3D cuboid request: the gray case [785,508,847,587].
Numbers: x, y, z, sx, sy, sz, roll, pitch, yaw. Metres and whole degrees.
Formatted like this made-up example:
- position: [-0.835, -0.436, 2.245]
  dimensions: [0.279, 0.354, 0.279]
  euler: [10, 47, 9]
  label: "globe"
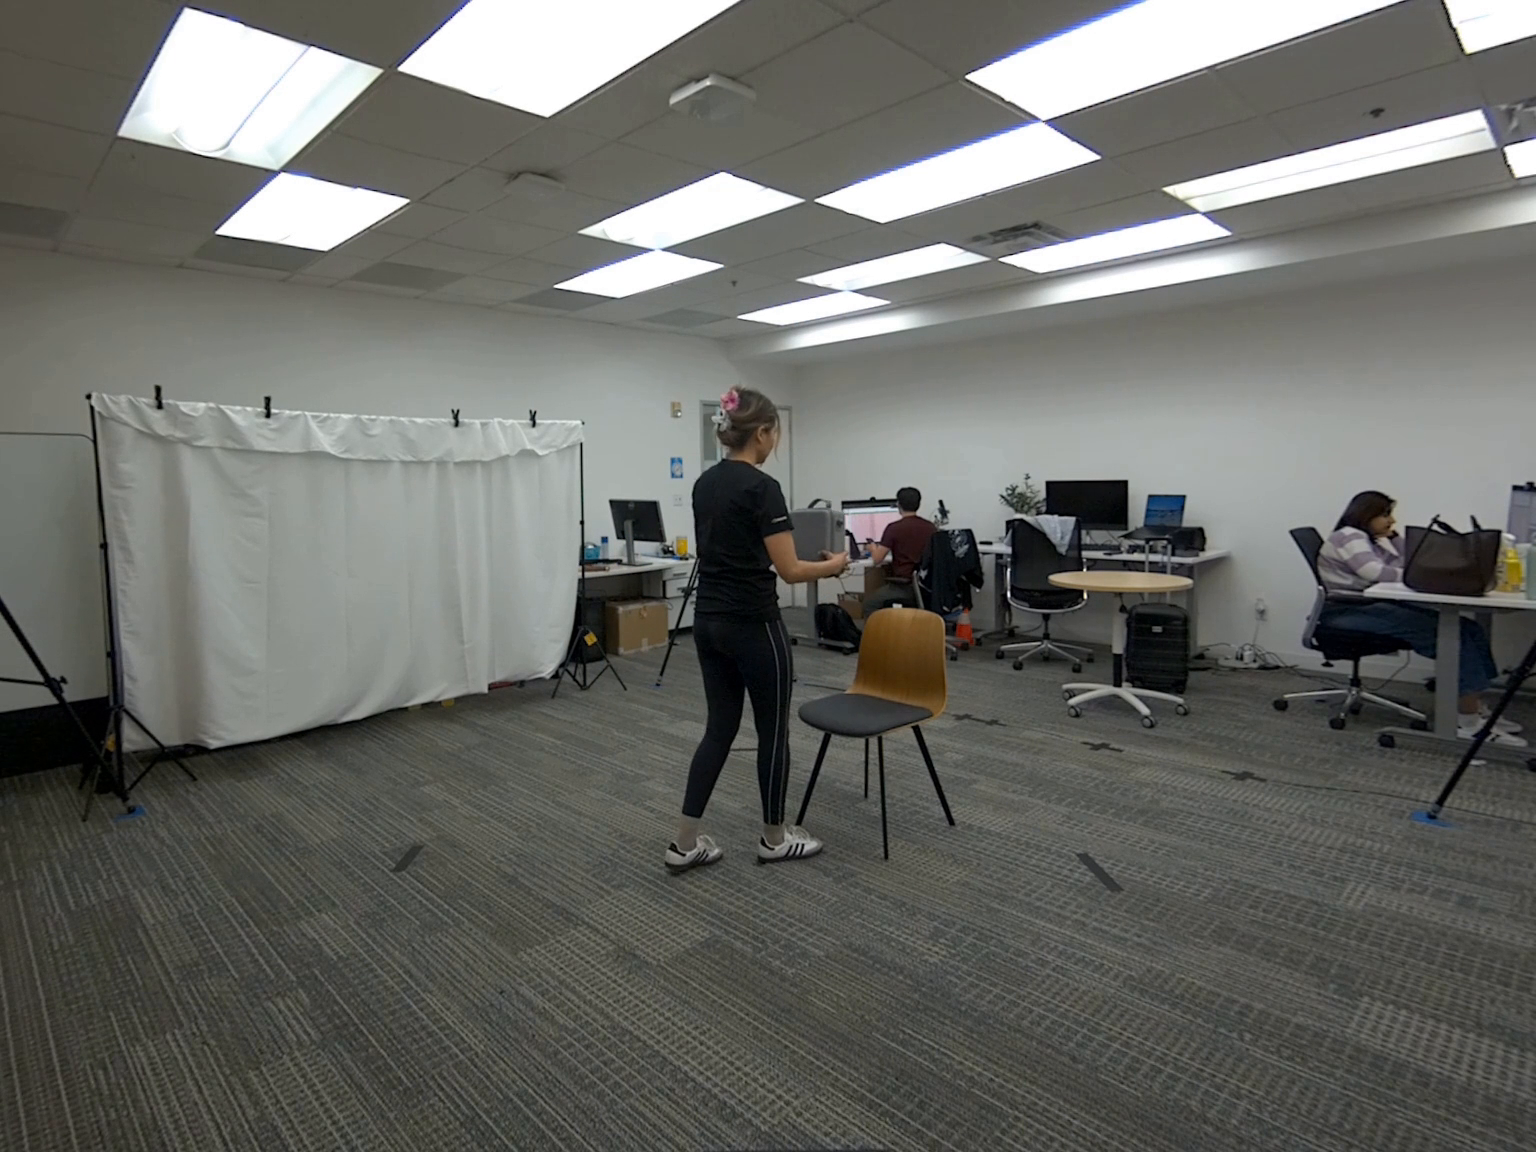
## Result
- position: [0.175, -0.131, 3.253]
  dimensions: [0.101, 0.261, 0.264]
  euler: [4, 0, -33]
  label: "gray case"
